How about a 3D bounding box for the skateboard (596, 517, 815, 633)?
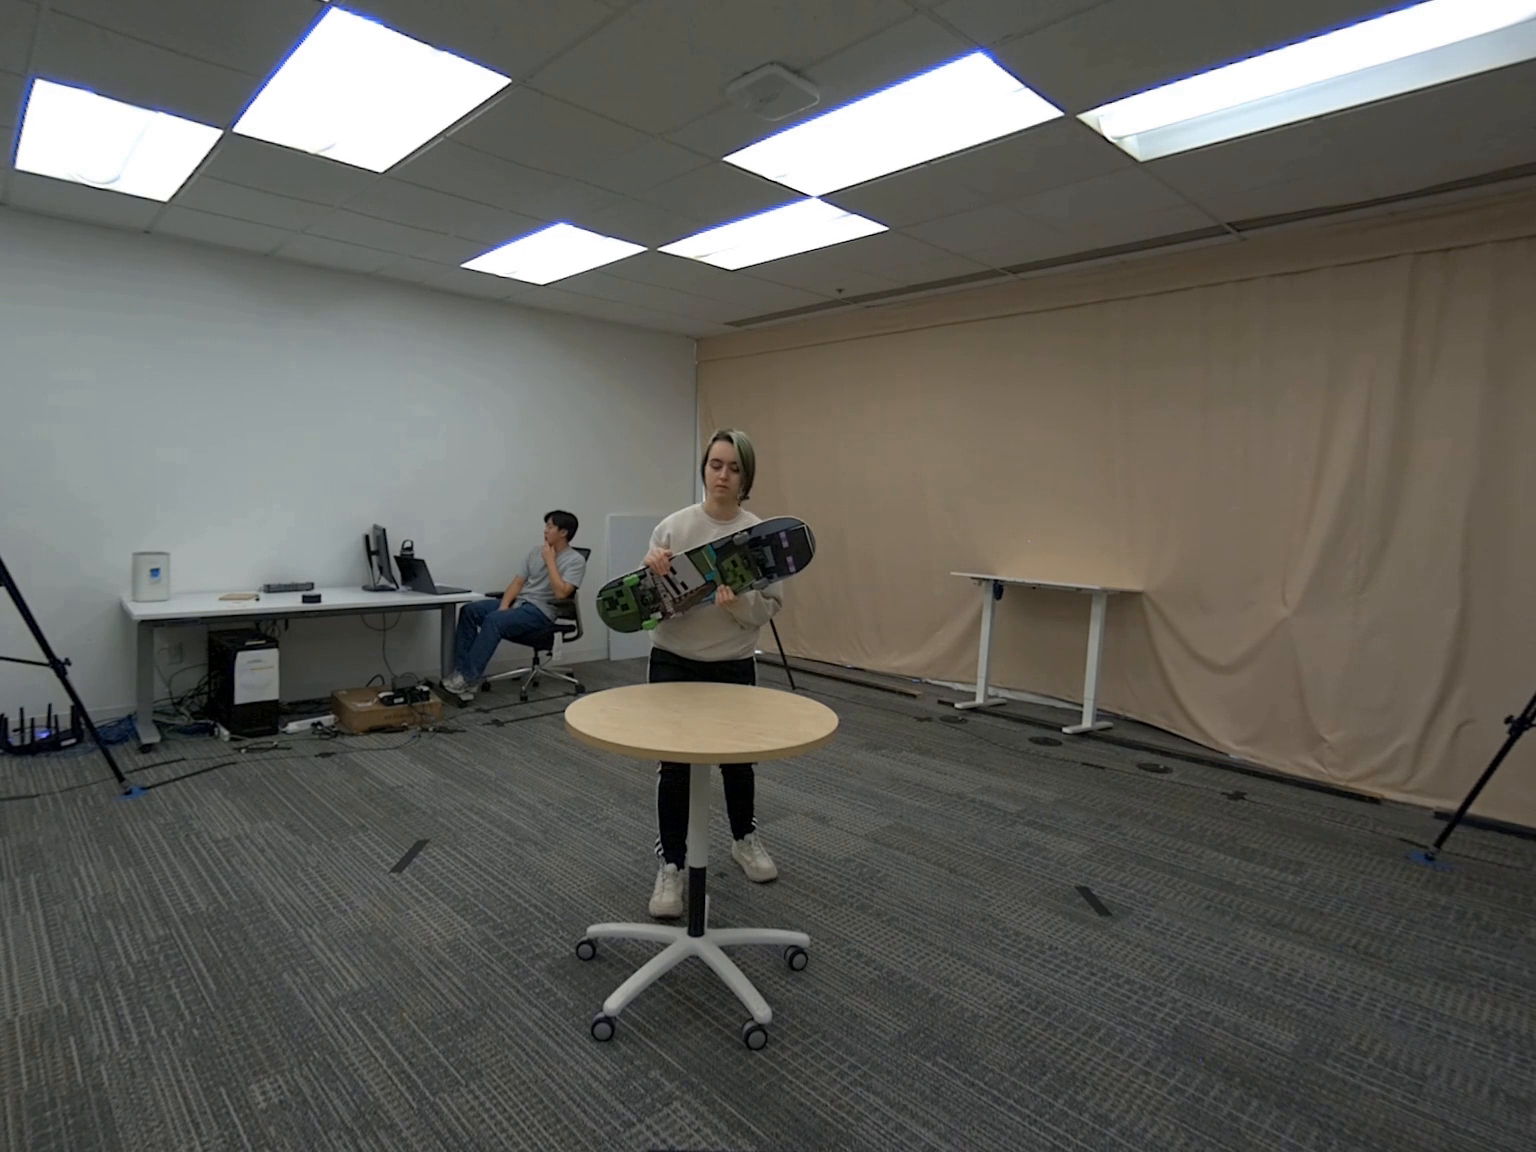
[{"bbox_3d":[-0.222,0.008,2.665,0.793,0.192,0.110,-19,8,19],"label":"skateboard"}]
